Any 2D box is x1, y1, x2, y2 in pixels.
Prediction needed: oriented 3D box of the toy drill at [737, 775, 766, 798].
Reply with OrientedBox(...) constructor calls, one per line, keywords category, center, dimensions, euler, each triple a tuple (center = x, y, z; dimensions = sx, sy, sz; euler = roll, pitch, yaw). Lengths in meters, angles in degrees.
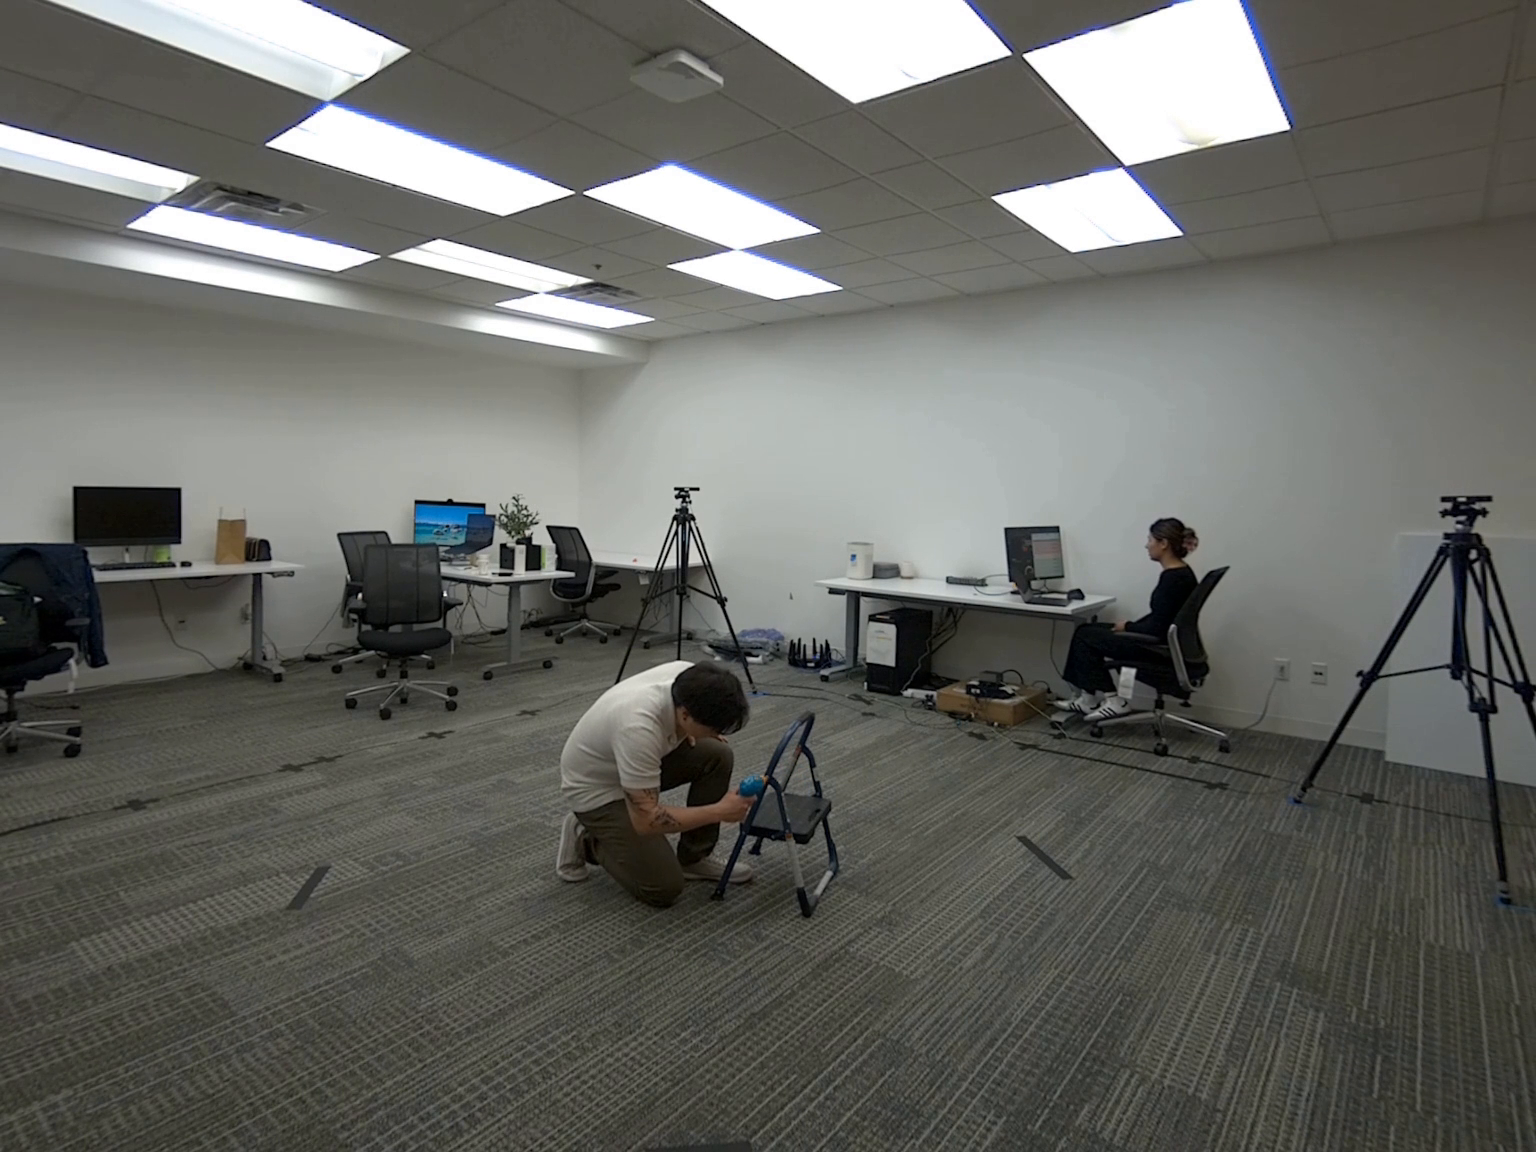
OrientedBox(category="toy drill", center=(-0.078, 0.687, 2.716), dimensions=(0.063, 0.146, 0.165), euler=(47, 15, 16))
